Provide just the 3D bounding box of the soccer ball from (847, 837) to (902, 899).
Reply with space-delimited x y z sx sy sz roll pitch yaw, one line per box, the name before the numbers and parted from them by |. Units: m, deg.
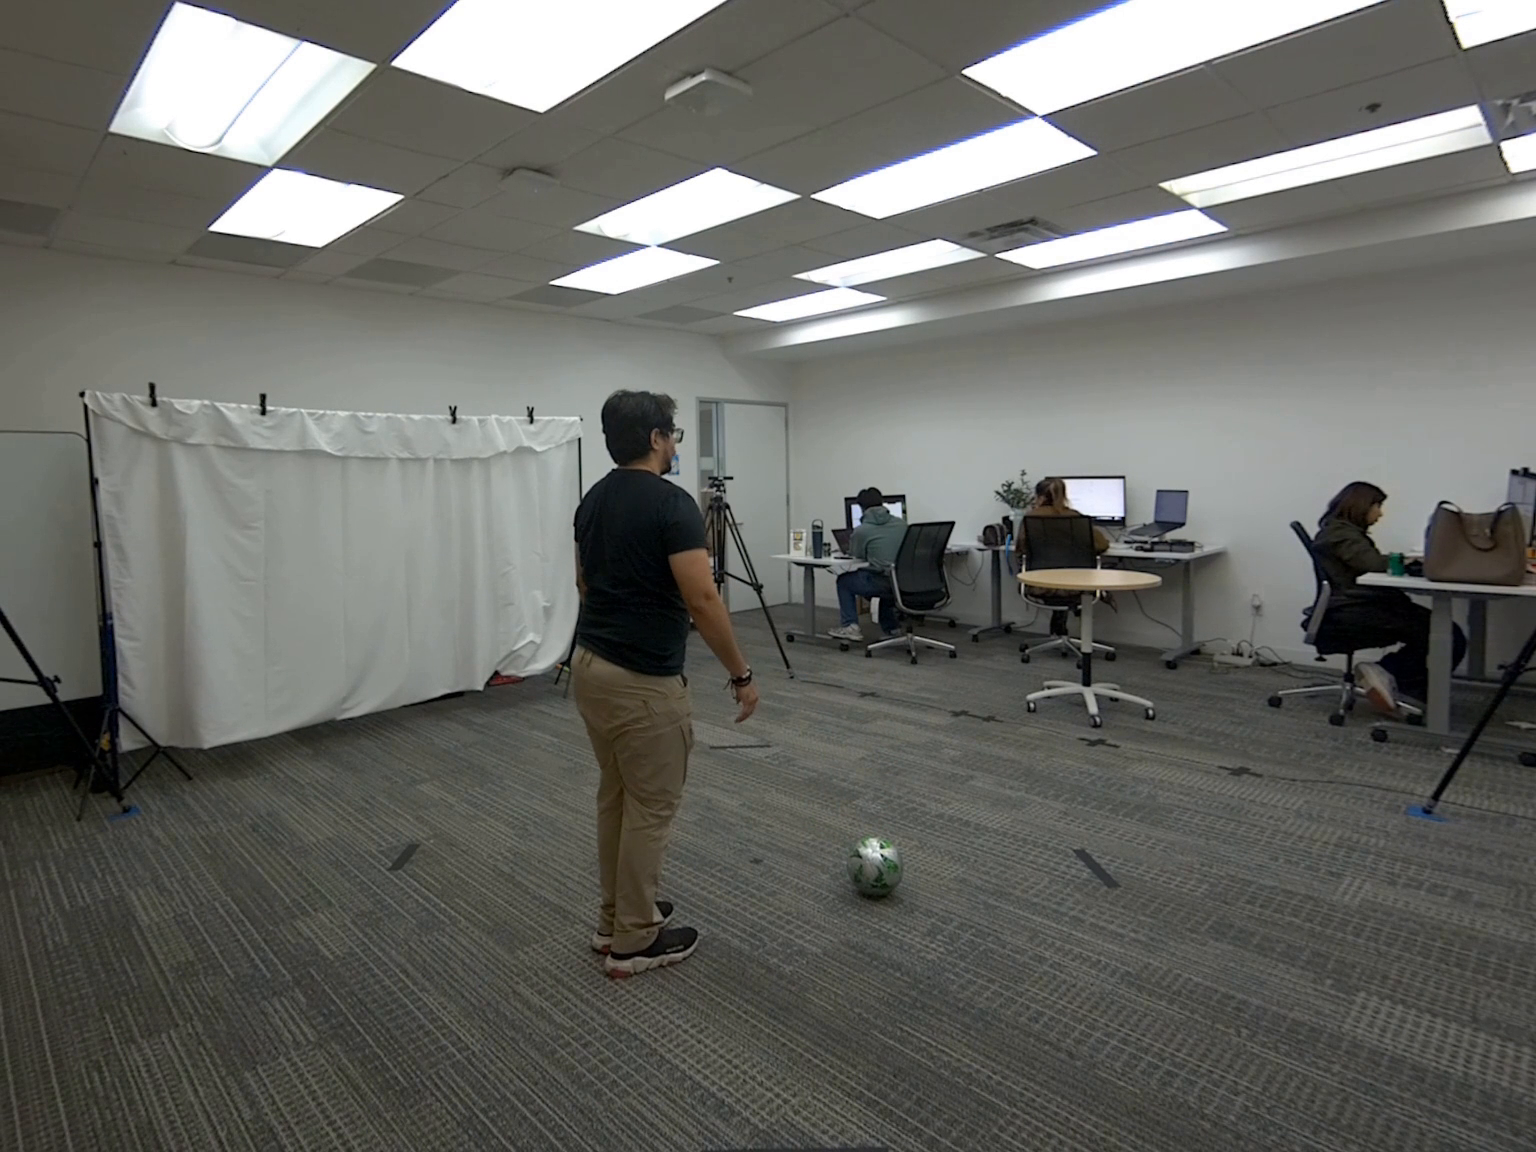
soccer ball | 0.362 0.967 2.849 0.187 0.187 0.188 -1 5 -2
